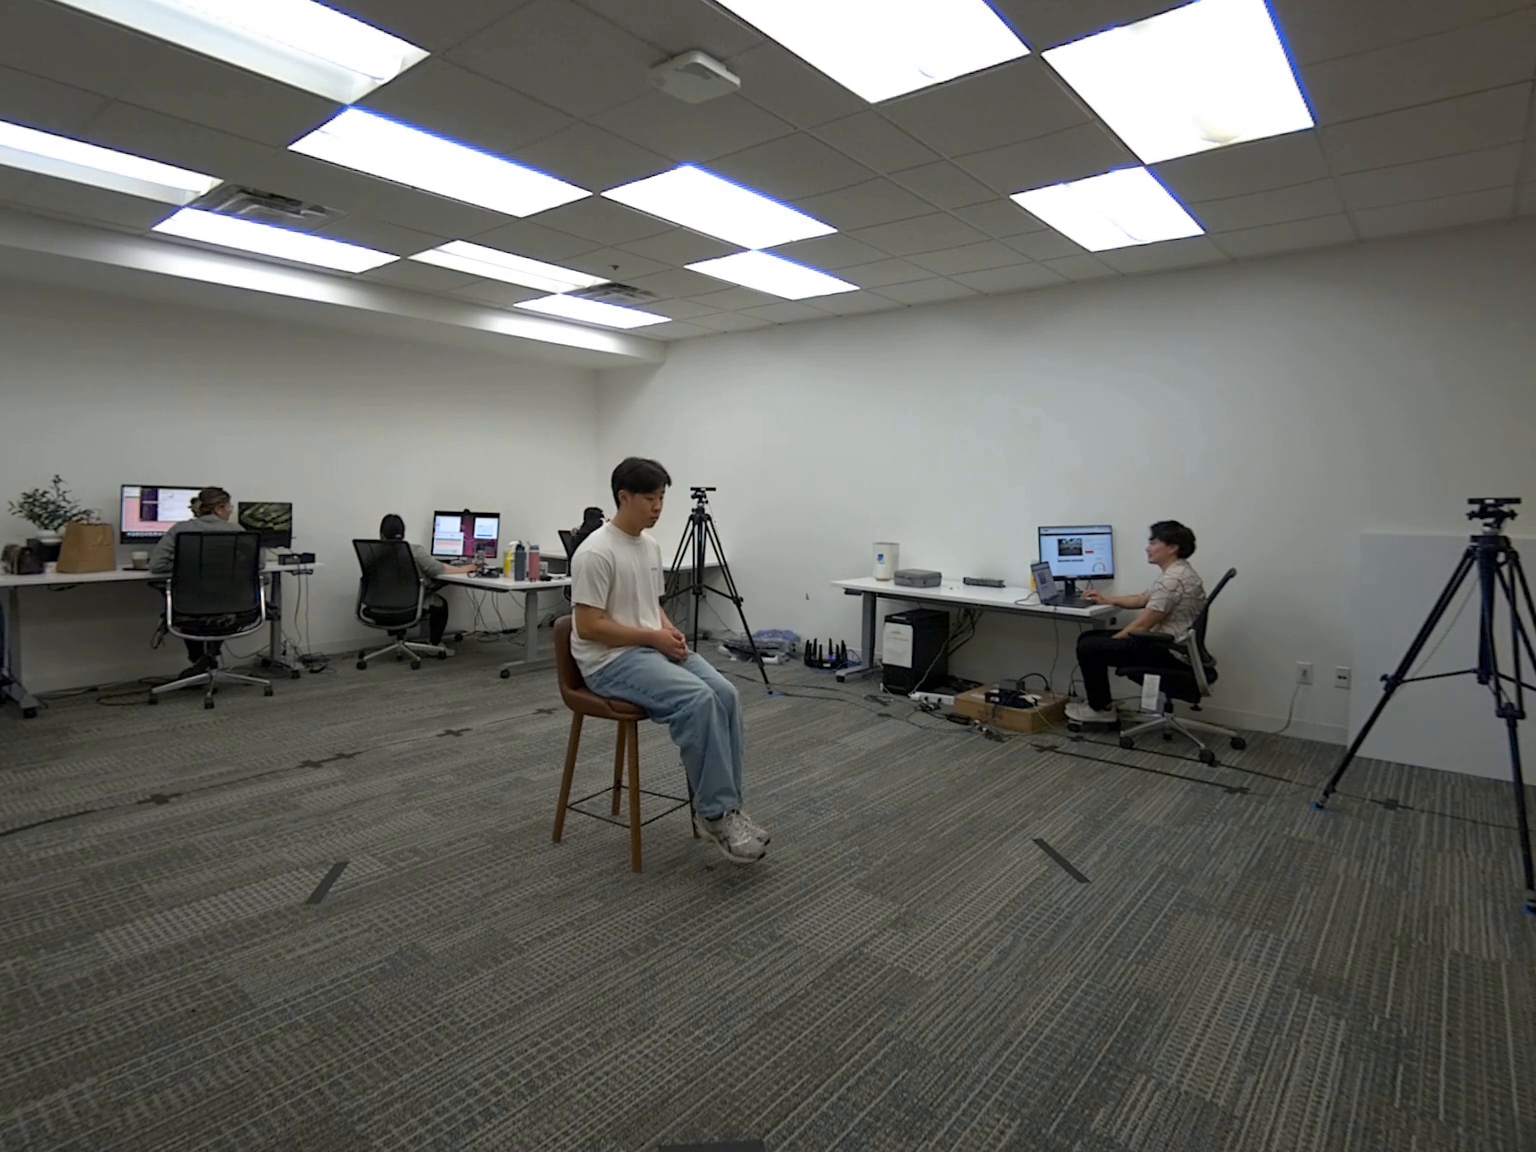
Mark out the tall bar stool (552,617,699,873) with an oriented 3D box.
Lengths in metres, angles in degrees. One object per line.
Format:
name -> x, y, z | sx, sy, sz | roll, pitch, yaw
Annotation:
tall bar stool -> -0.574, 0.605, 3.344 | 0.481, 0.889, 0.444 | 0, 1, 32
